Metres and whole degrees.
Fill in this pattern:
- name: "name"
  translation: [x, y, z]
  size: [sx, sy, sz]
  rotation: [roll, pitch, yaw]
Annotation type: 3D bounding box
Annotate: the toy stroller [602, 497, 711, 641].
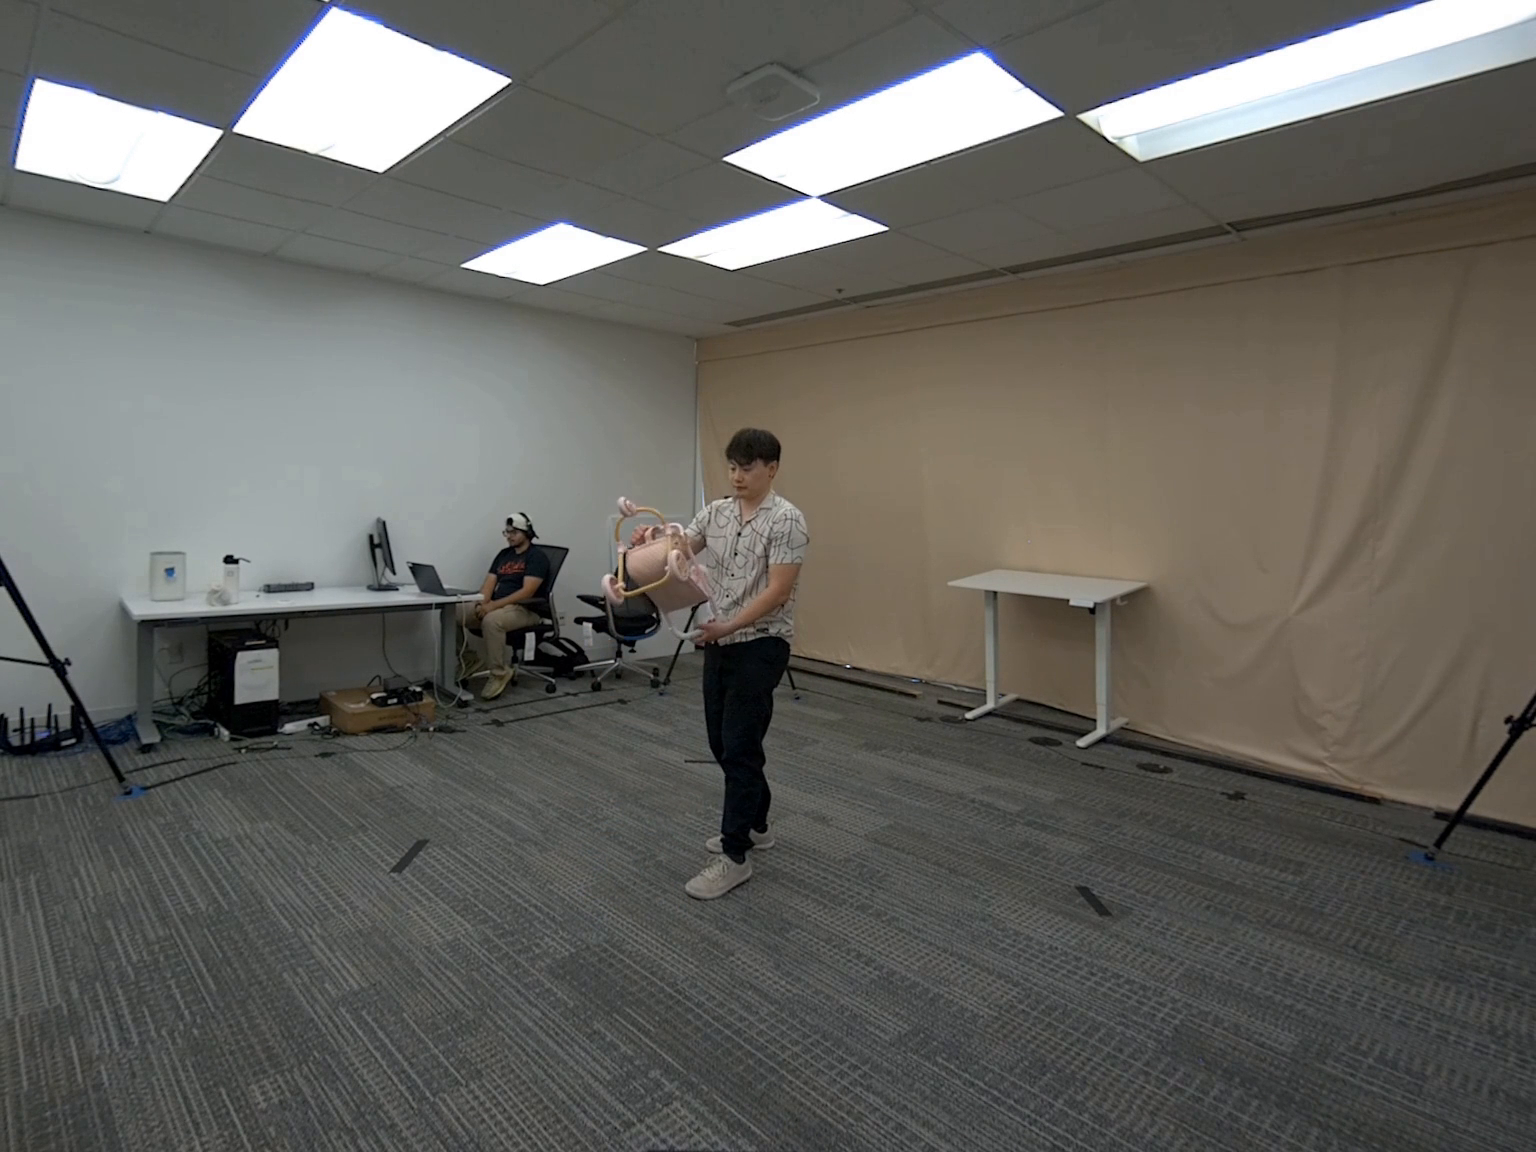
- name: "toy stroller"
  translation: [-0.380, -0.022, 2.928]
  size: [0.283, 0.349, 0.519]
  rotation: [-24, -31, 15]
